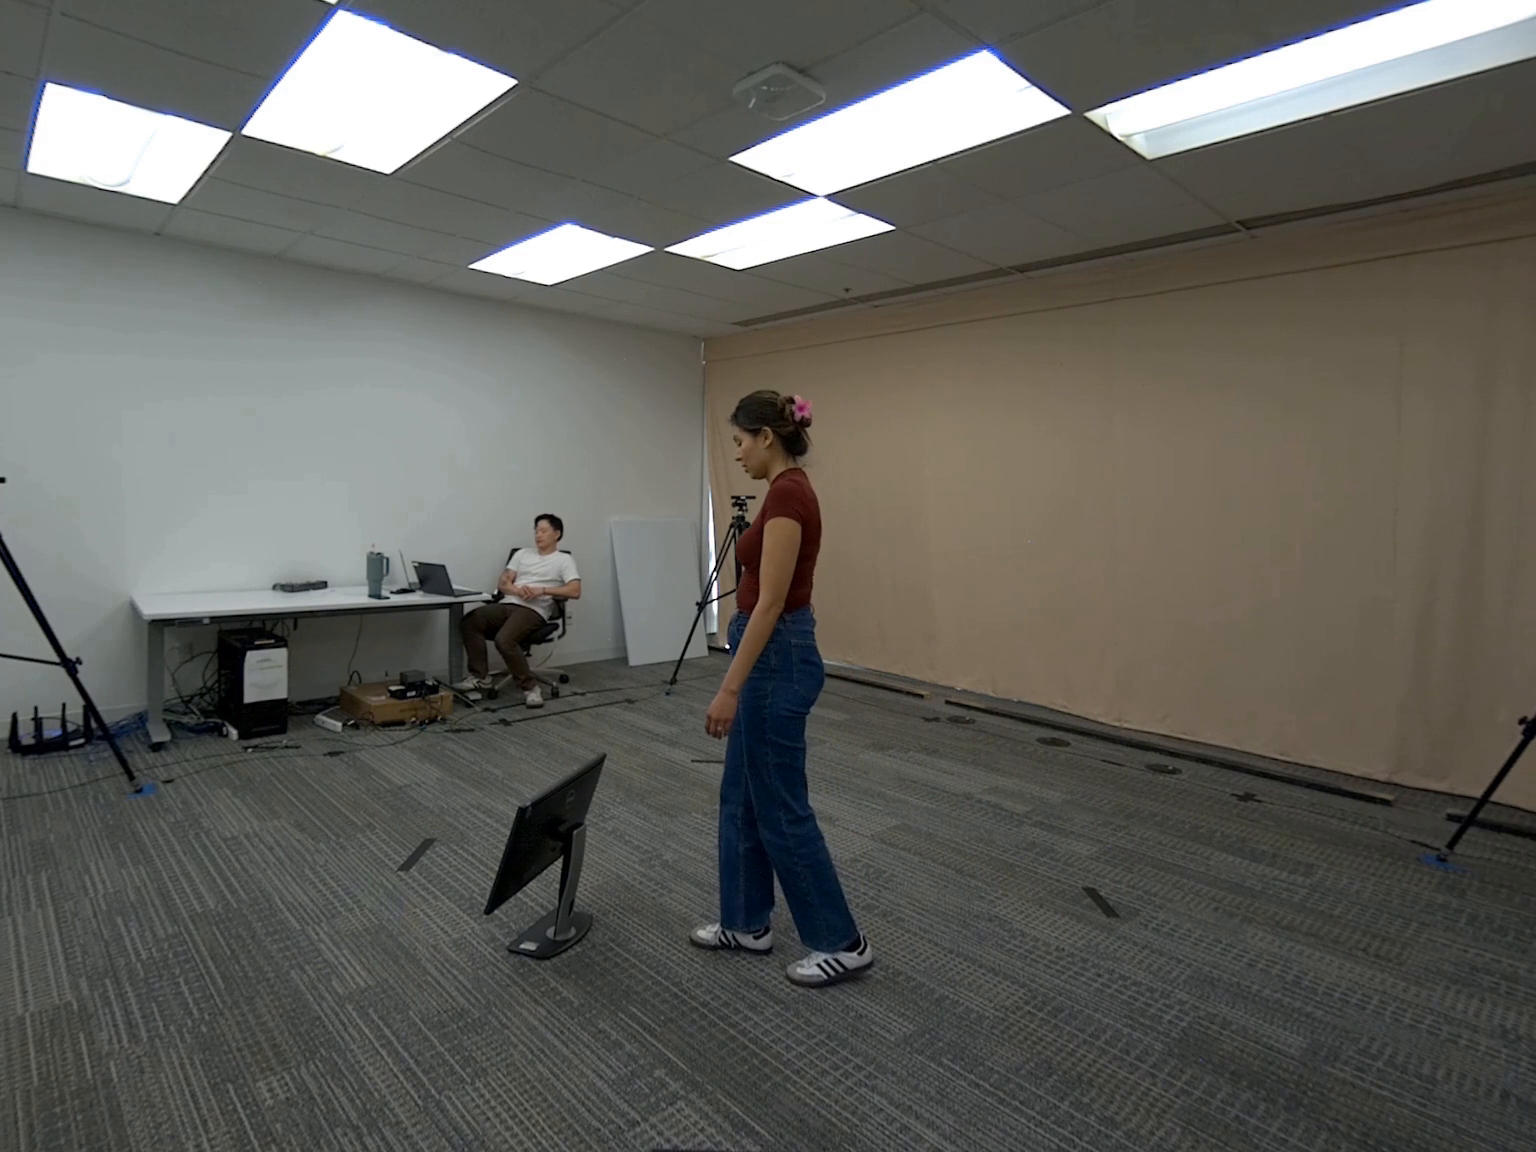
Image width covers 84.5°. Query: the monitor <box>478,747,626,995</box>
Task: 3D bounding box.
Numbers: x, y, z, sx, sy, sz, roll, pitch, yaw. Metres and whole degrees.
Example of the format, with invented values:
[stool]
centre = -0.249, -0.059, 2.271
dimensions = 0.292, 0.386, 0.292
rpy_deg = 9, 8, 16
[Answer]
[monitor]
centre = -0.657, 0.879, 2.638
dimensions = 0.189, 0.521, 0.534
rpy_deg = 5, 5, 13
